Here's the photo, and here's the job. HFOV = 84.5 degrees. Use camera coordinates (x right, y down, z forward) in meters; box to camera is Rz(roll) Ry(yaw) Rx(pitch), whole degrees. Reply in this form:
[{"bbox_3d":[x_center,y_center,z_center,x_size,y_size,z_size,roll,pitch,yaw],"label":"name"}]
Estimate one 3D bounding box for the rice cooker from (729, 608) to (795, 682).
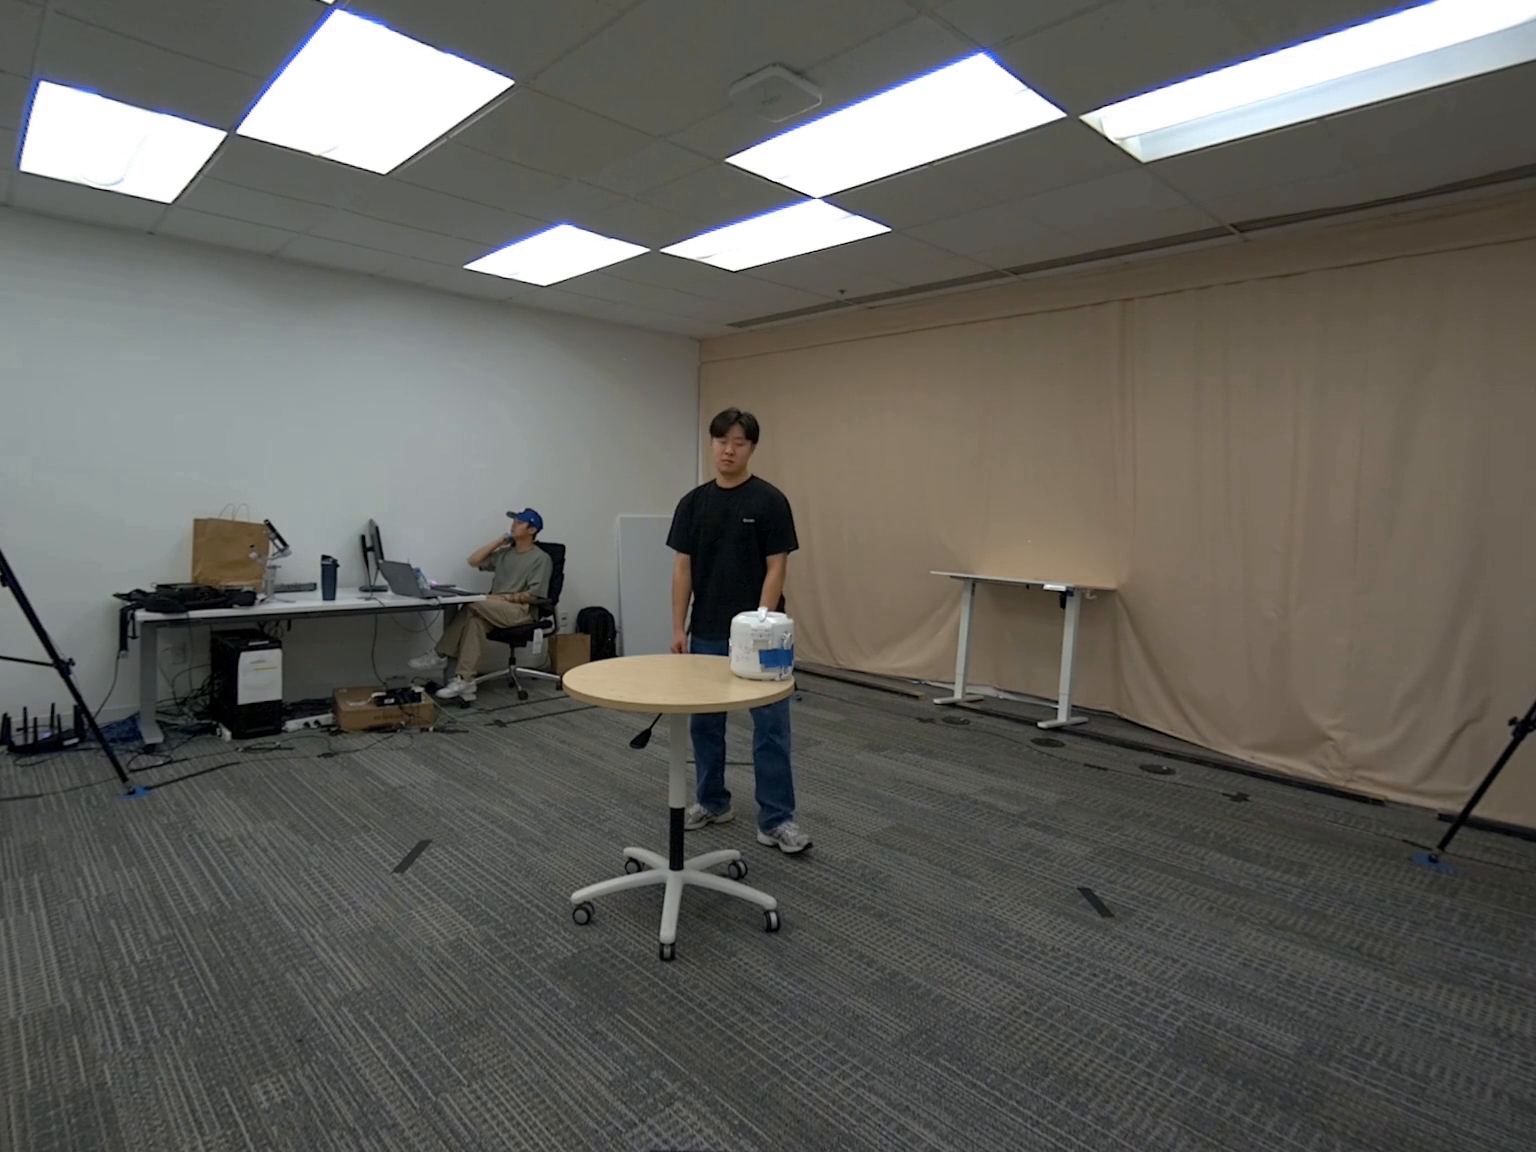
[{"bbox_3d":[-0.029,0.220,2.820,0.218,0.232,0.220,3,4,4],"label":"rice cooker"}]
